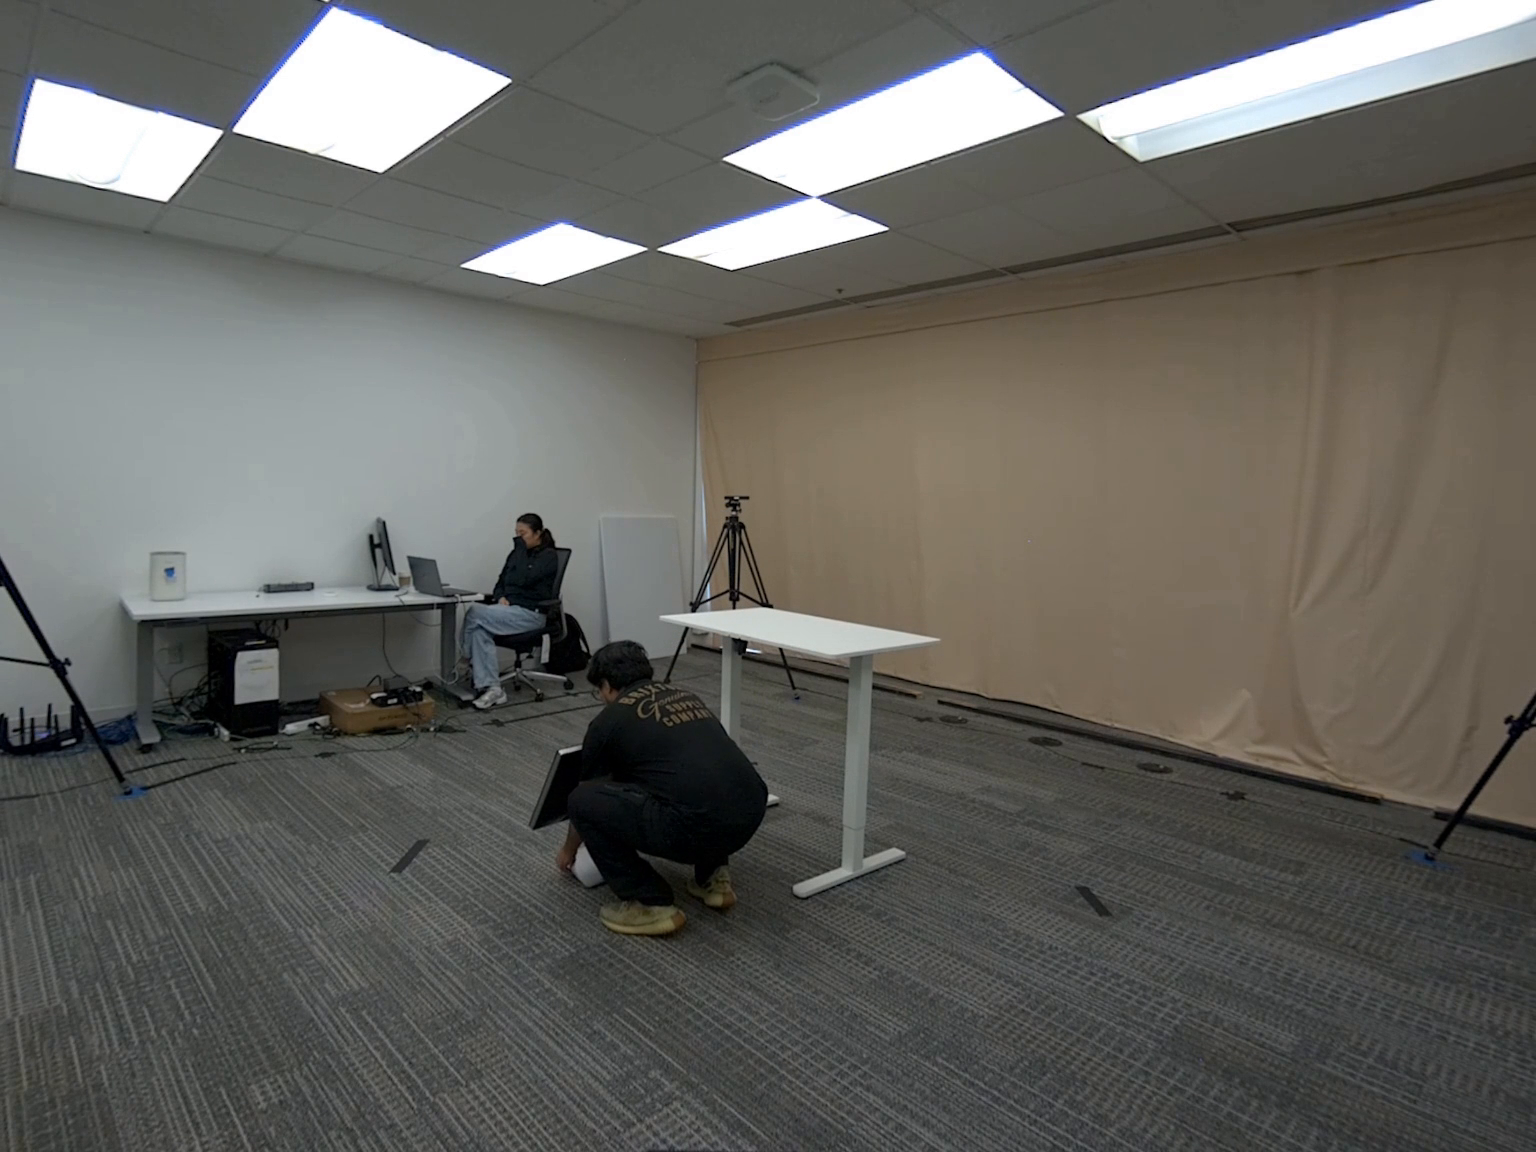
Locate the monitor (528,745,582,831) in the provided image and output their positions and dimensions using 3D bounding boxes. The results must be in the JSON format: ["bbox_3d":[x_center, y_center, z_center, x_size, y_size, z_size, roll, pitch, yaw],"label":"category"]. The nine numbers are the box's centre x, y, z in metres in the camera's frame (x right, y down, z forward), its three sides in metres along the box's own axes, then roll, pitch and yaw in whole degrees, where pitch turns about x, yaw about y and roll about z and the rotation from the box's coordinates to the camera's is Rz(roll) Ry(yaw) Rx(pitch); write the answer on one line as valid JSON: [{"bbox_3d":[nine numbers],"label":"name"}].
[{"bbox_3d":[-0.546,0.822,3.033,0.553,0.549,0.217,-4,28,-46],"label":"monitor"}]
